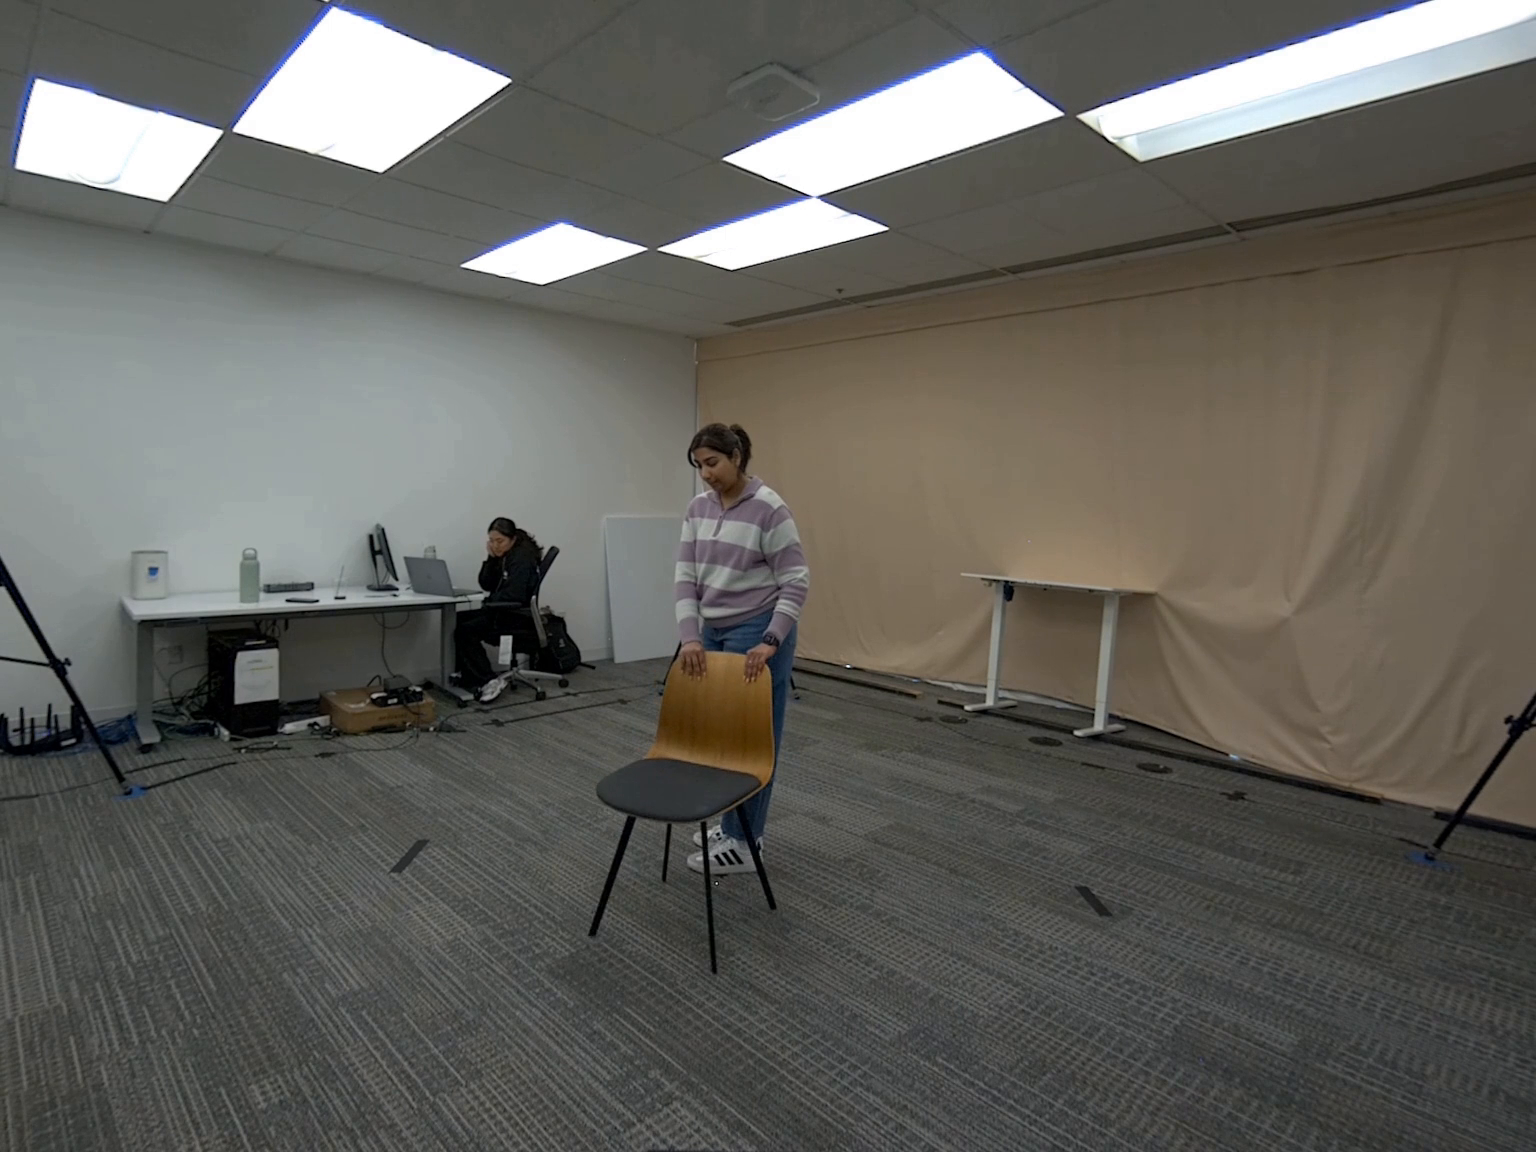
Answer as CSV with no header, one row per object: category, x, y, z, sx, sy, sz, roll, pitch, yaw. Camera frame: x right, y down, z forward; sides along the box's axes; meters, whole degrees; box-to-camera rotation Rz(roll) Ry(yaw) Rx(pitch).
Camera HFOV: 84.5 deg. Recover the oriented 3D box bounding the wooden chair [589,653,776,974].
wooden chair,-0.264,0.706,2.715,0.487,0.878,0.512,3,0,26
